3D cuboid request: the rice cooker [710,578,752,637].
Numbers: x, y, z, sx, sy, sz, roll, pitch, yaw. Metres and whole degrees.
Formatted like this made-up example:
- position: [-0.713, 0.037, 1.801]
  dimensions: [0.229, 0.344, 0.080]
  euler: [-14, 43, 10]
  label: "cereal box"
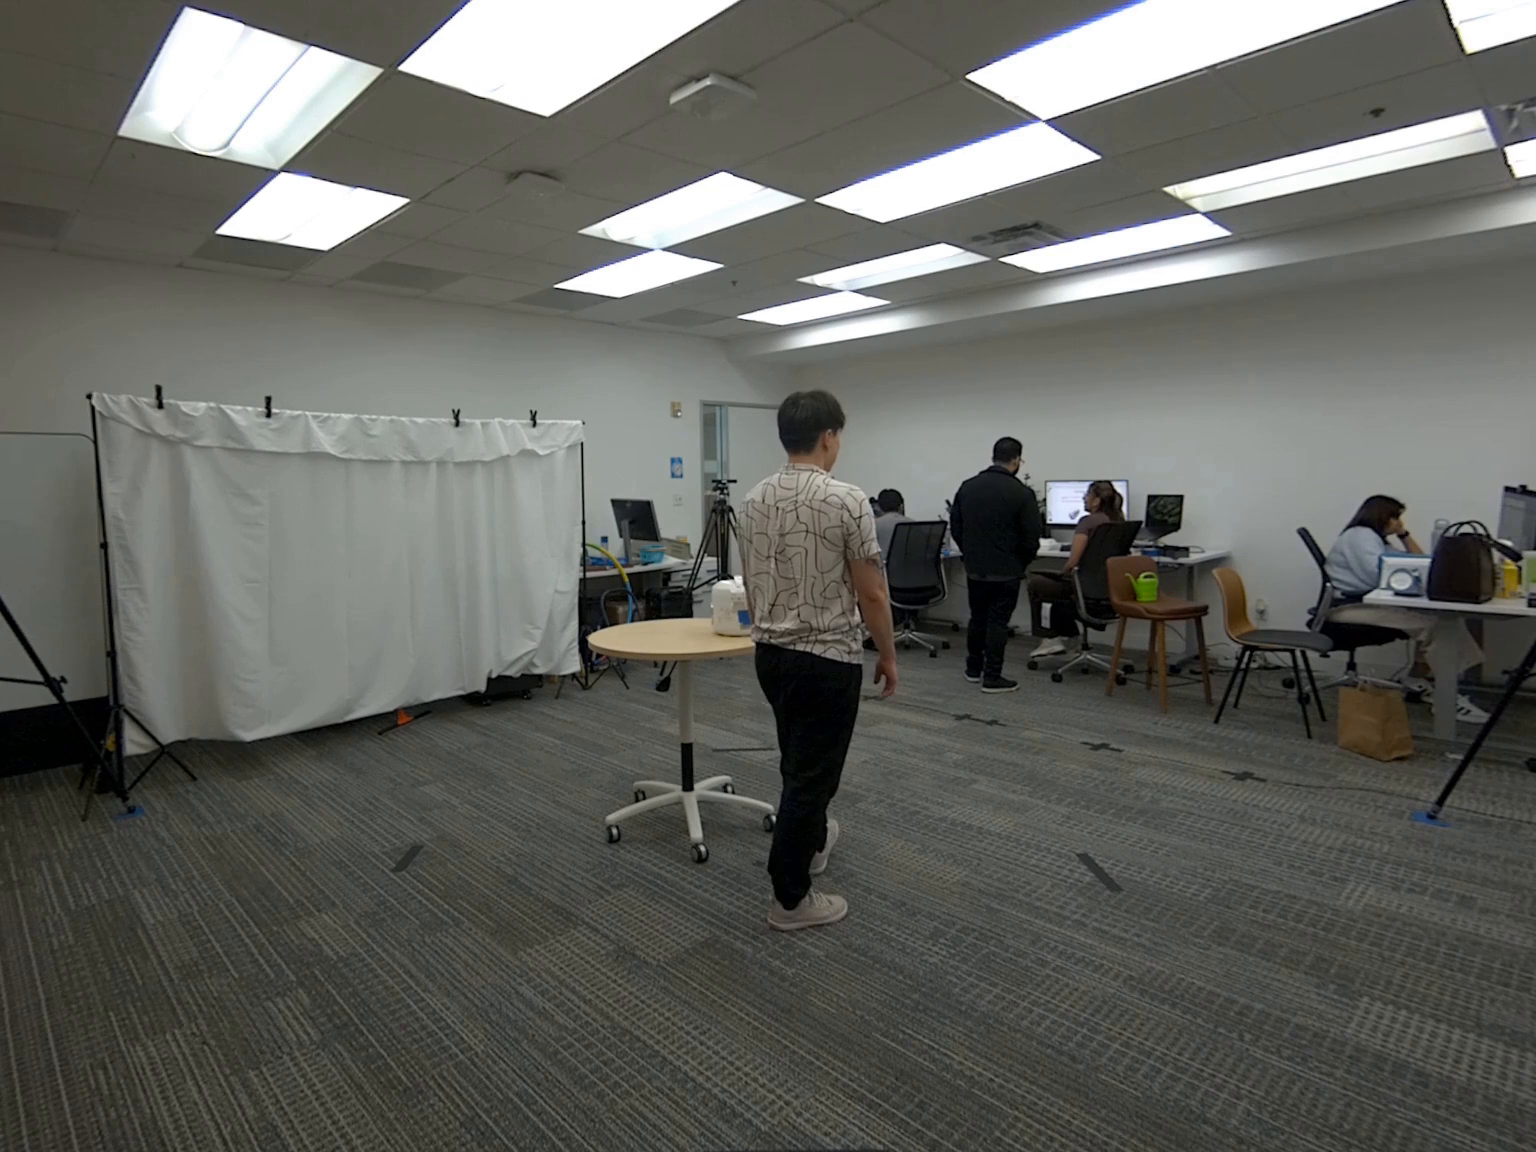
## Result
- position: [-0.122, 0.112, 3.426]
  dimensions: [0.217, 0.232, 0.222]
  euler: [-1, 5, -3]
  label: "rice cooker"
